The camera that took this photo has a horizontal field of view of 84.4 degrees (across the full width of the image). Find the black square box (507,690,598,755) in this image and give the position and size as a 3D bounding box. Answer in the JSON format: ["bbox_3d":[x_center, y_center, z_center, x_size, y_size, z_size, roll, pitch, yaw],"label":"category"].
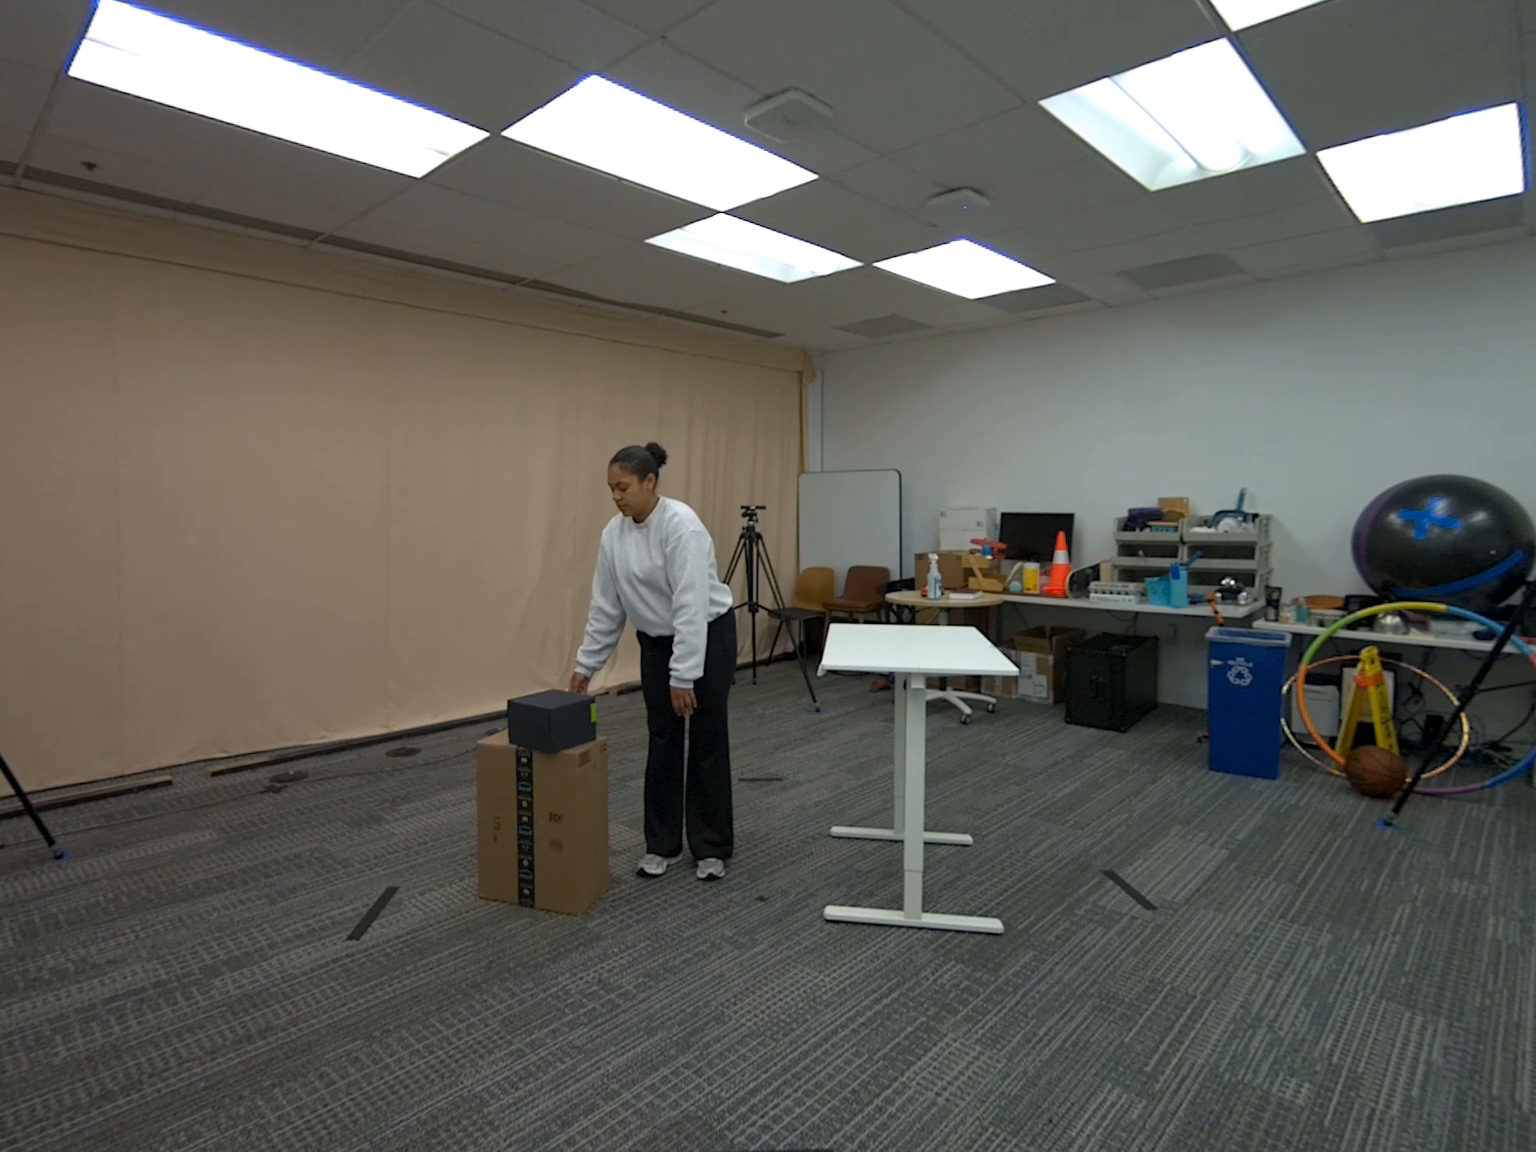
[{"bbox_3d":[-0.760,0.510,2.973,0.235,0.155,0.211,2,5,37],"label":"black square box"}]
